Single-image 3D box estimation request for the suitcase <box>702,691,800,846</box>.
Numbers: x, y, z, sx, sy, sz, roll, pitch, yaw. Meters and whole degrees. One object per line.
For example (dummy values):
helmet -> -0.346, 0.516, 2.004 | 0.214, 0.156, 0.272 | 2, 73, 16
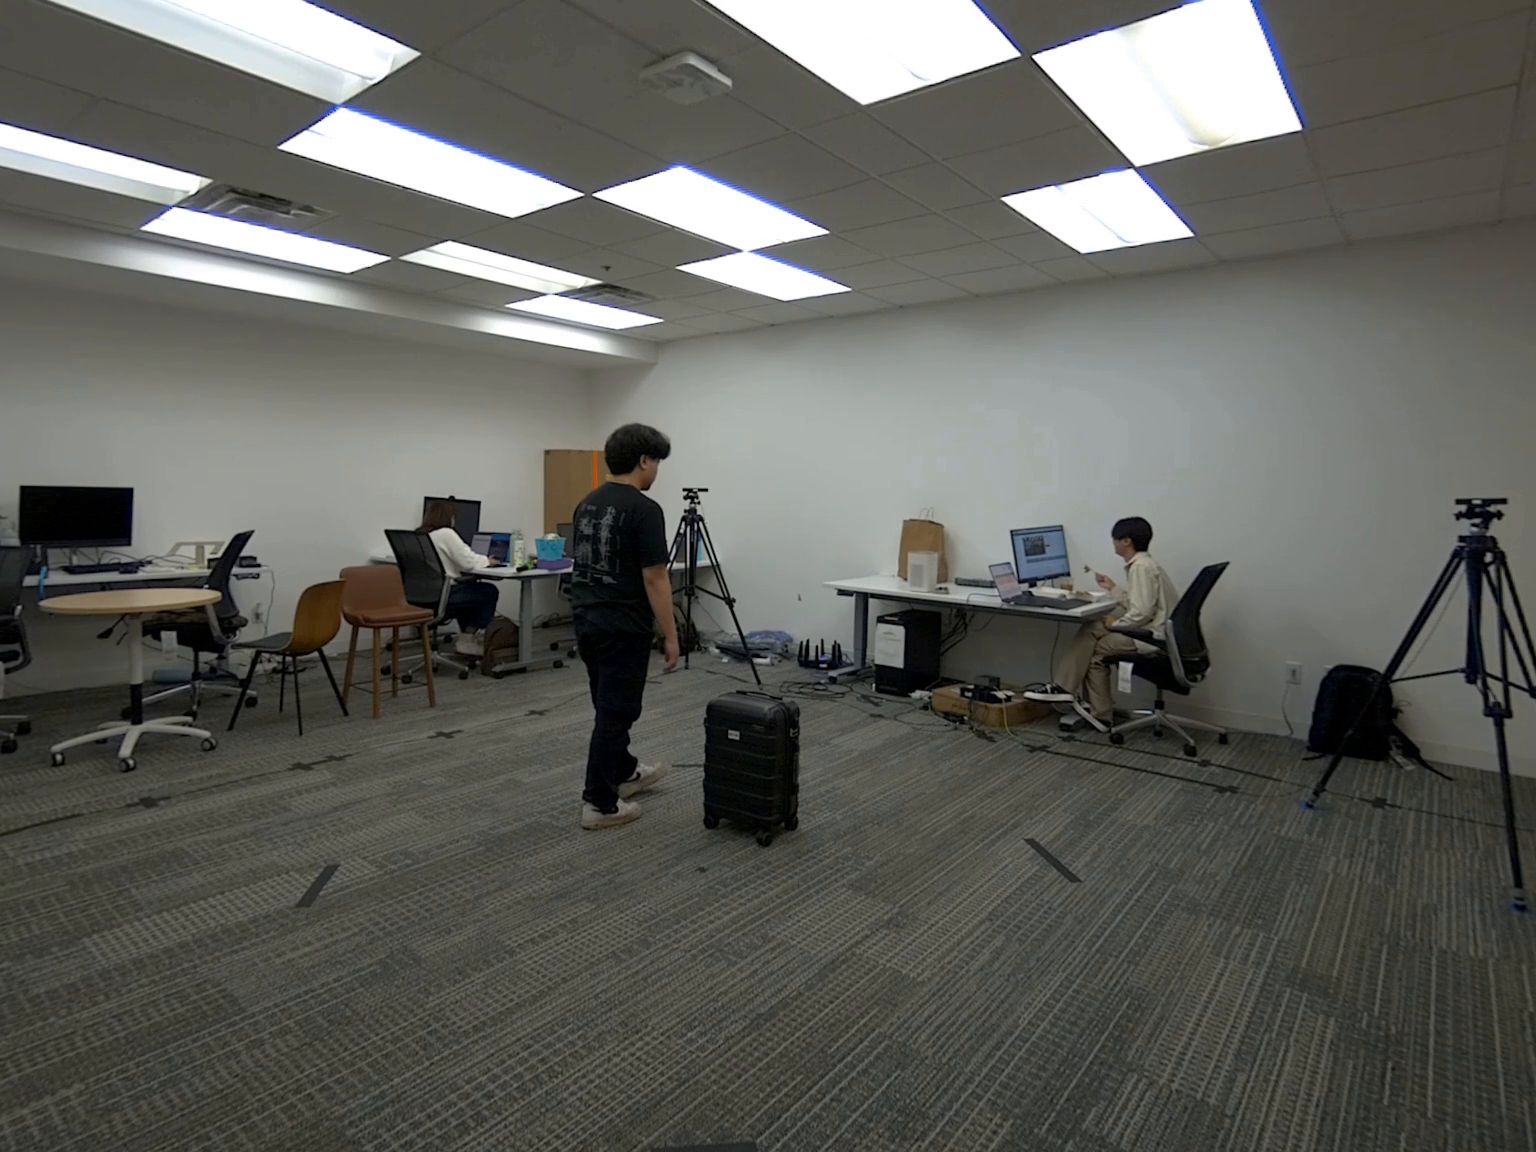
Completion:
suitcase -> -0.071, 0.759, 3.500 | 0.387, 0.548, 0.241 | 3, 3, 33
